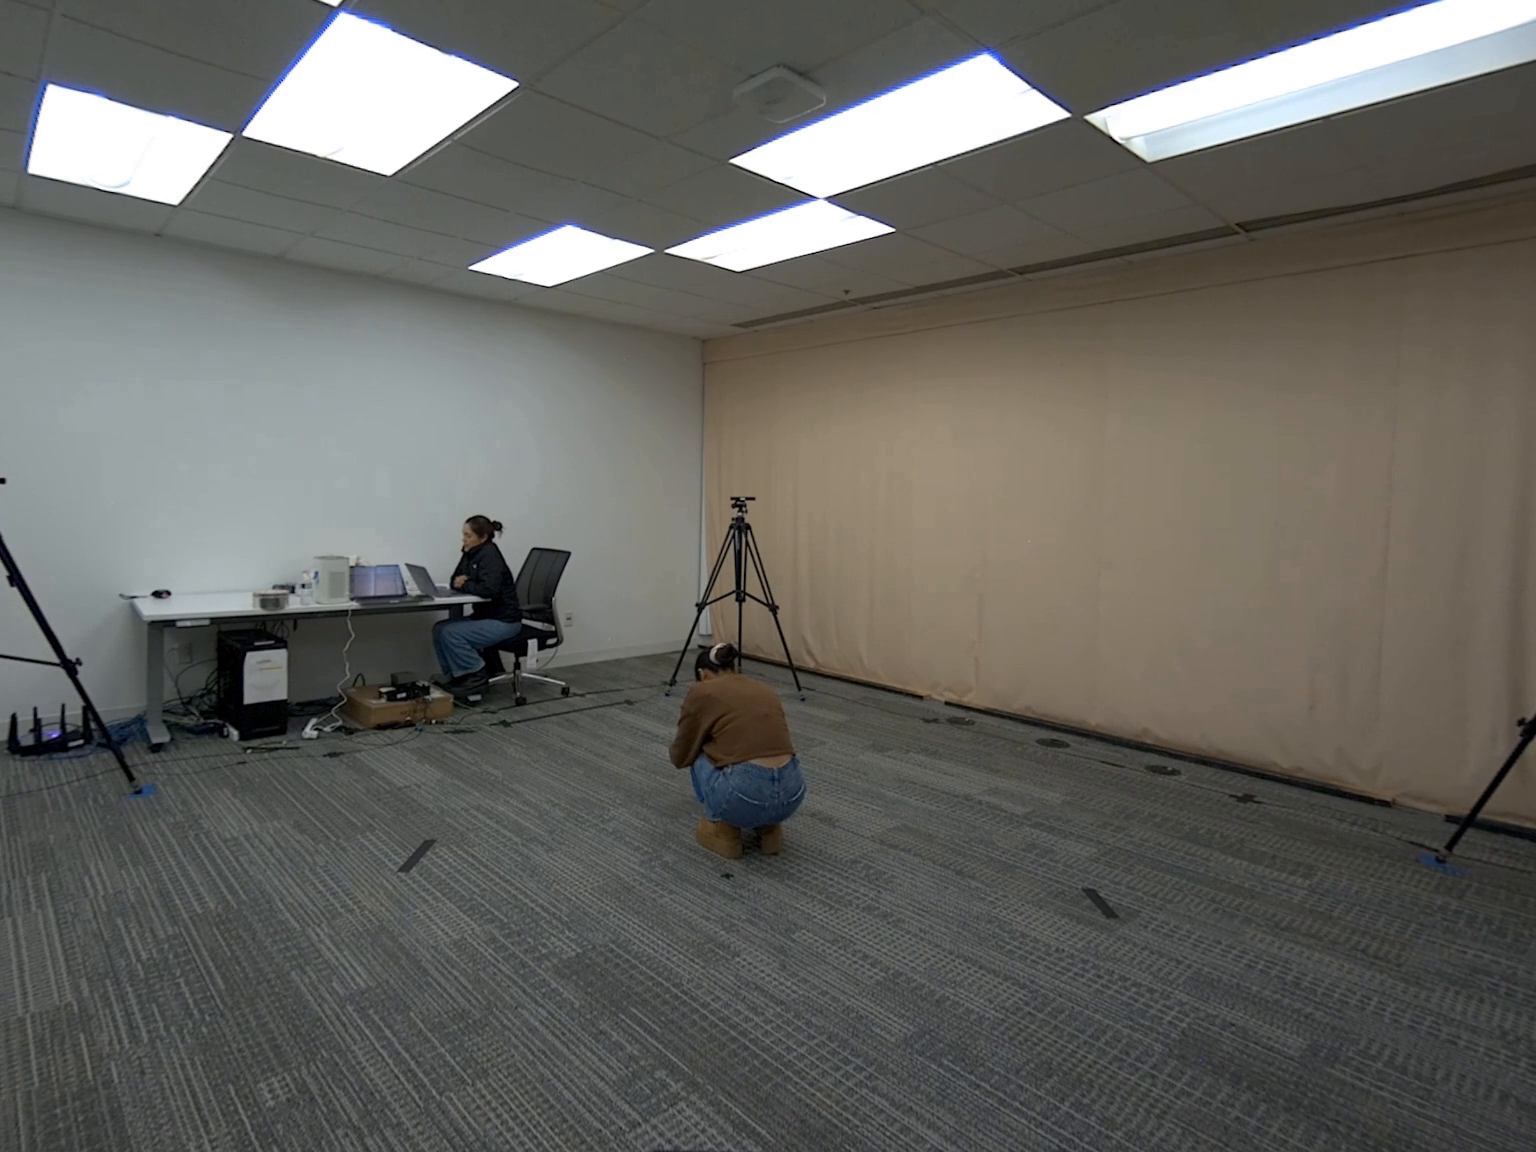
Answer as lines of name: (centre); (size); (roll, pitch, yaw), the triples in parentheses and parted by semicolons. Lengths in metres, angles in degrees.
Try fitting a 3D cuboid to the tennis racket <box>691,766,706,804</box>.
tennis racket: (-0.326, 0.835, 3.831); (0.031, 0.426, 0.220); (-9, 26, -21)
